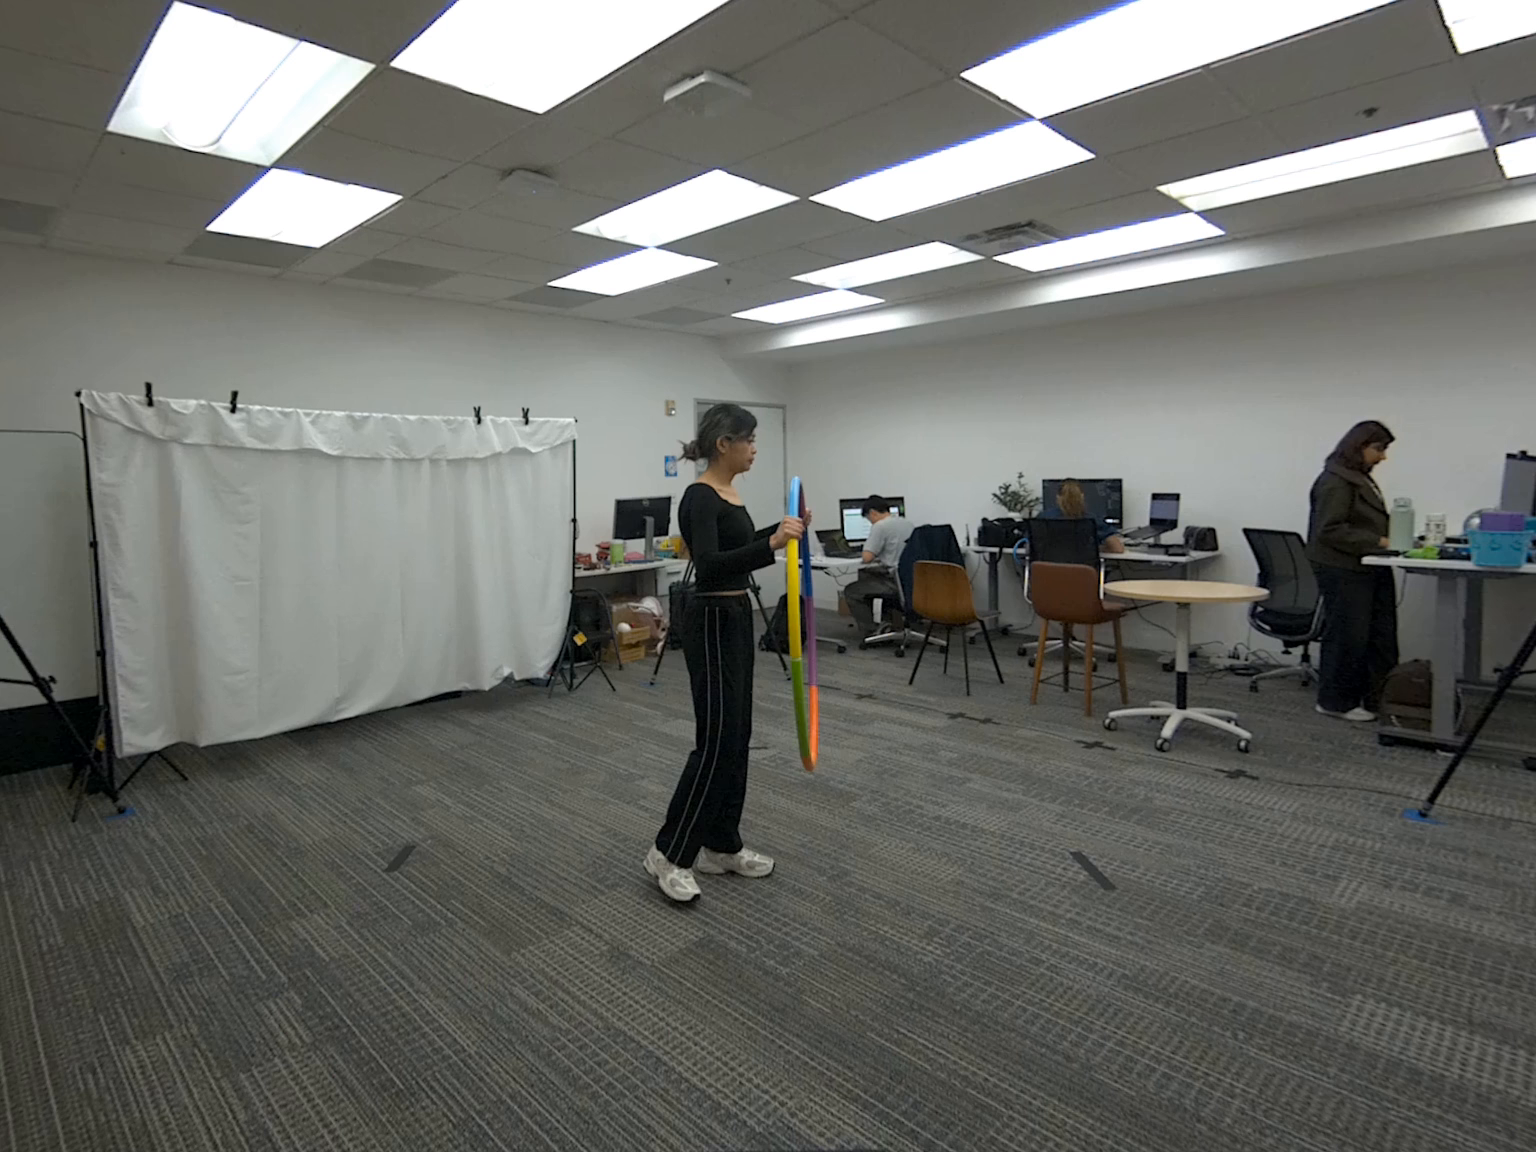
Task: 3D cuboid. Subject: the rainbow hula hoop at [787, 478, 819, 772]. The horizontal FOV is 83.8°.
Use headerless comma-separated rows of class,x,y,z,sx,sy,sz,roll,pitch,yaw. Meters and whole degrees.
rainbow hula hoop,0.122,0.158,2.941,0.036,0.975,0.976,-2,5,5
